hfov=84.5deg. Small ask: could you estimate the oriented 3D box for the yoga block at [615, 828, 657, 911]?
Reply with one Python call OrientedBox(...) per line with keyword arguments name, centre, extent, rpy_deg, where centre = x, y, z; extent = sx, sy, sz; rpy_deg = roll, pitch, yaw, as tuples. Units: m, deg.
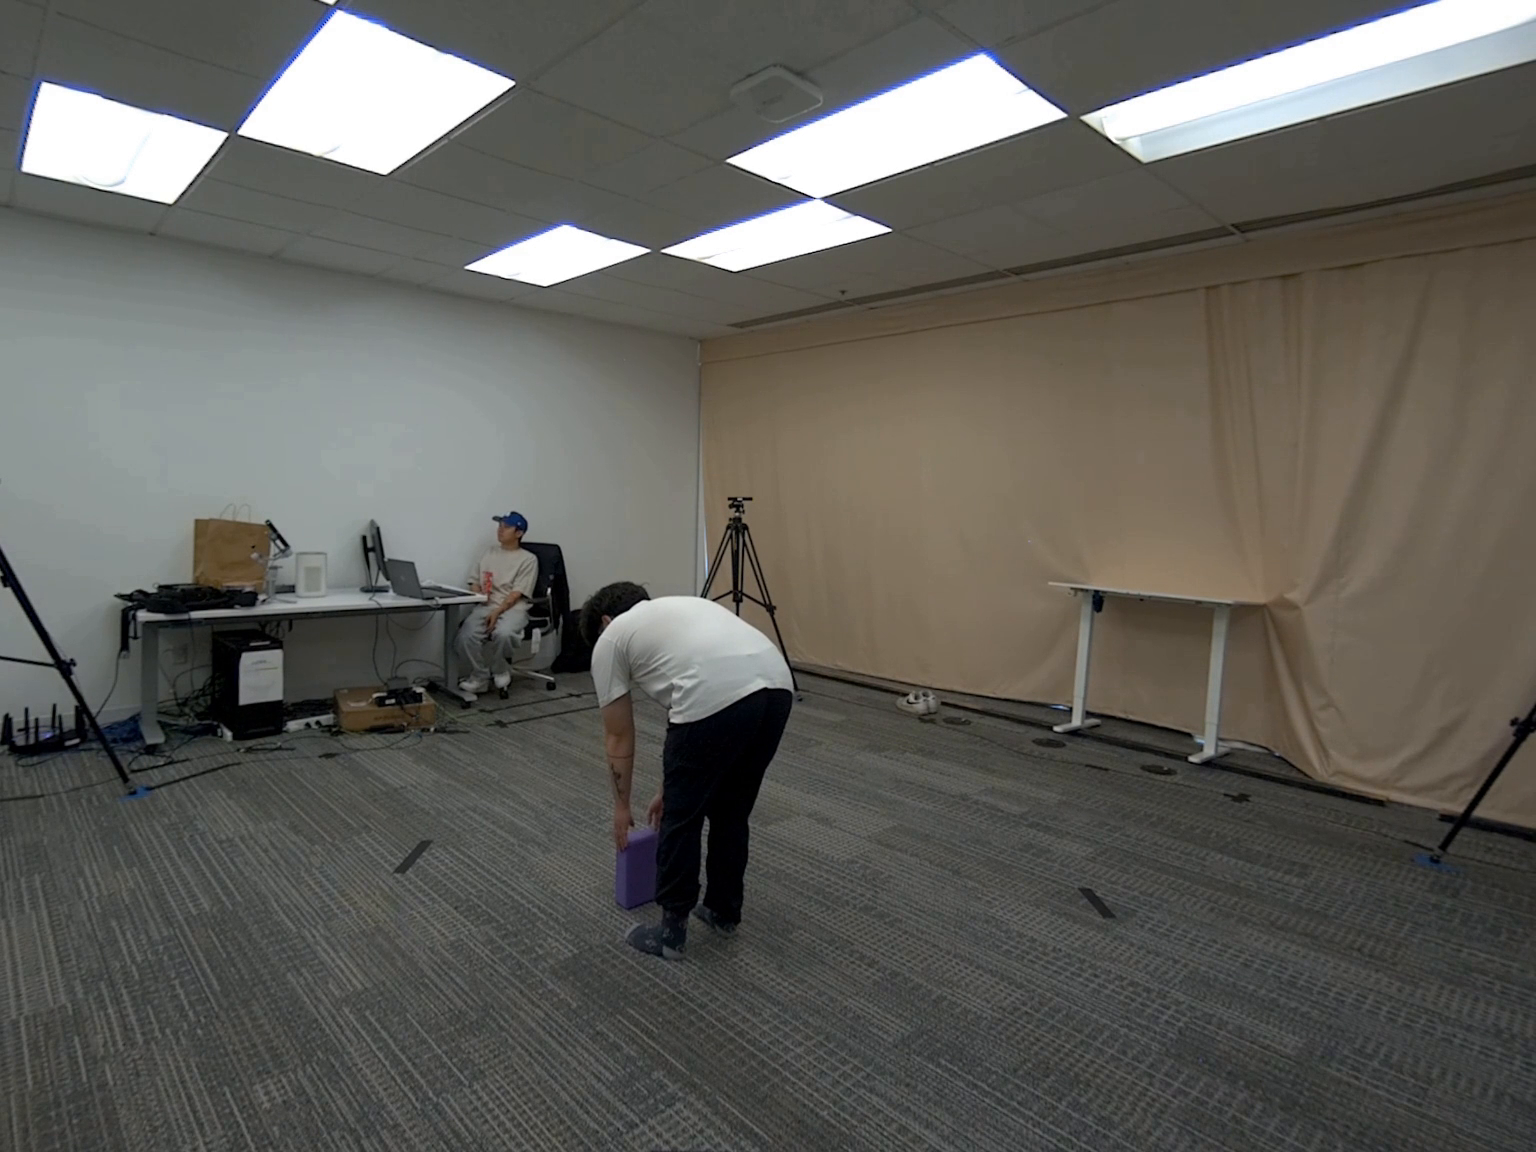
OrientedBox(name="yoga block", centre=(-0.453, 1.010, 2.889), extent=(0.146, 0.228, 0.078), rpy_deg=(-5, 8, -43))
